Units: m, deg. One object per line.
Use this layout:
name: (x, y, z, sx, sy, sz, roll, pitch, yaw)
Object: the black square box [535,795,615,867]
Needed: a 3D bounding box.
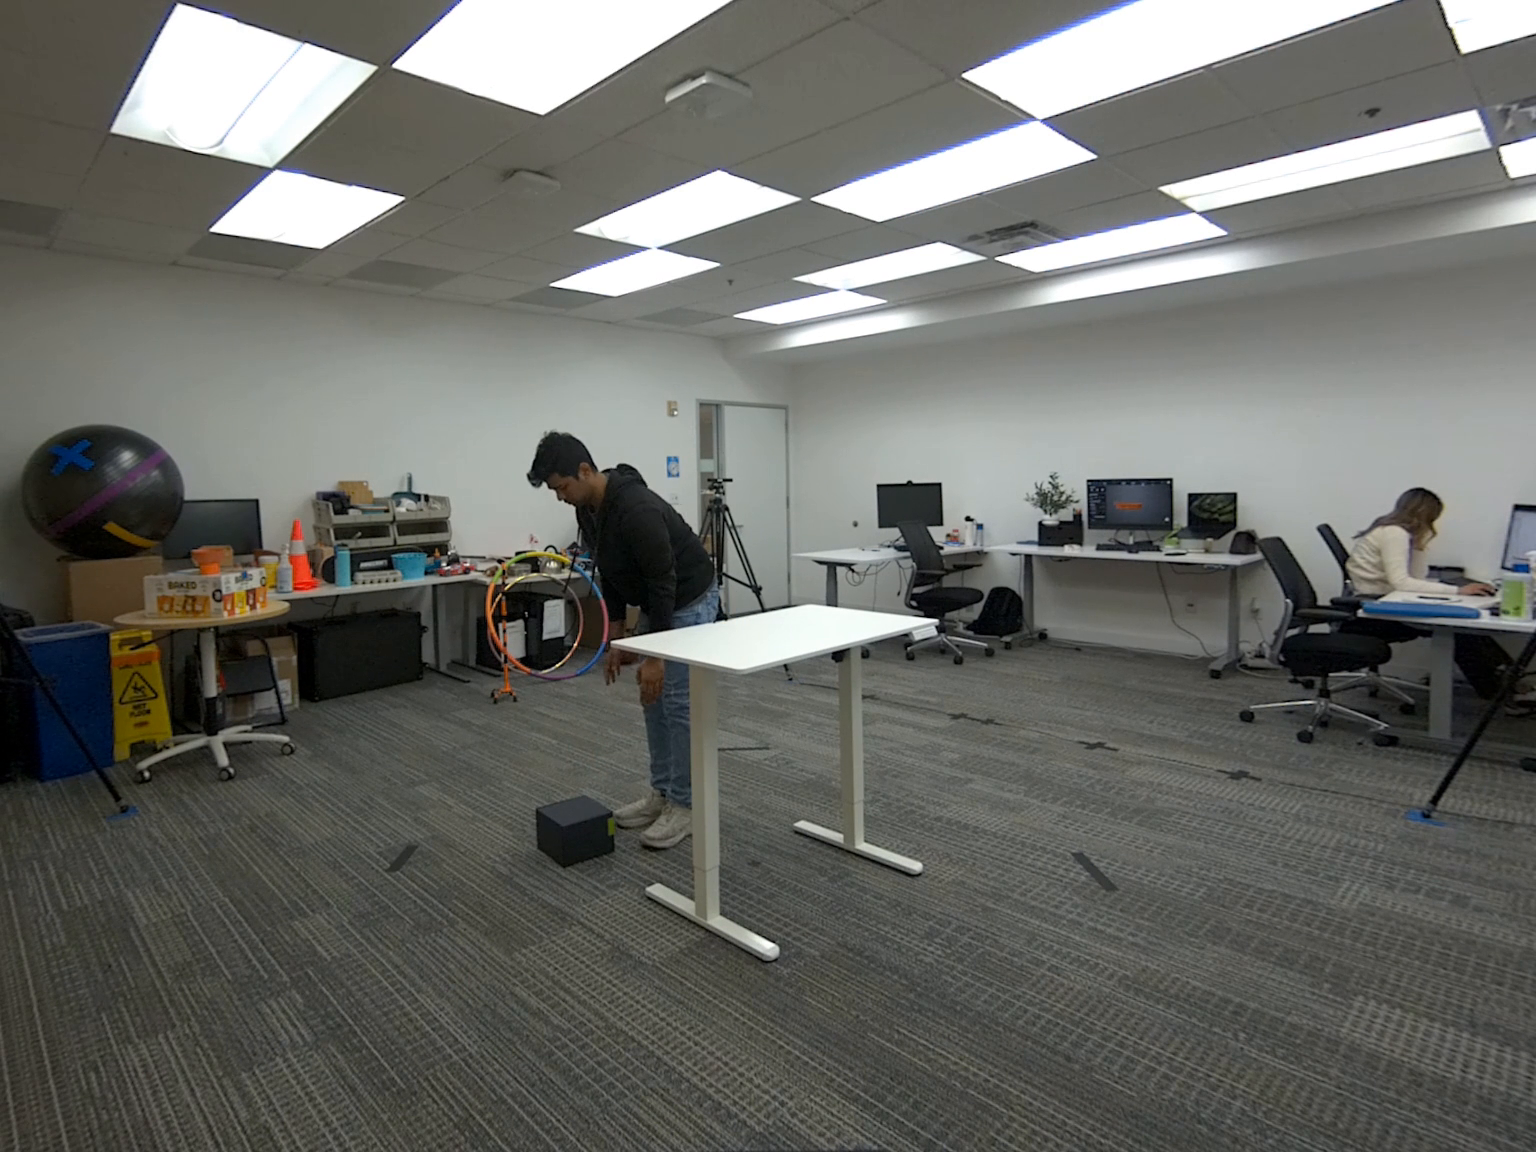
black square box: (-0.727, 0.958, 3.238, 0.211, 0.155, 0.235, -6, 7, -39)
